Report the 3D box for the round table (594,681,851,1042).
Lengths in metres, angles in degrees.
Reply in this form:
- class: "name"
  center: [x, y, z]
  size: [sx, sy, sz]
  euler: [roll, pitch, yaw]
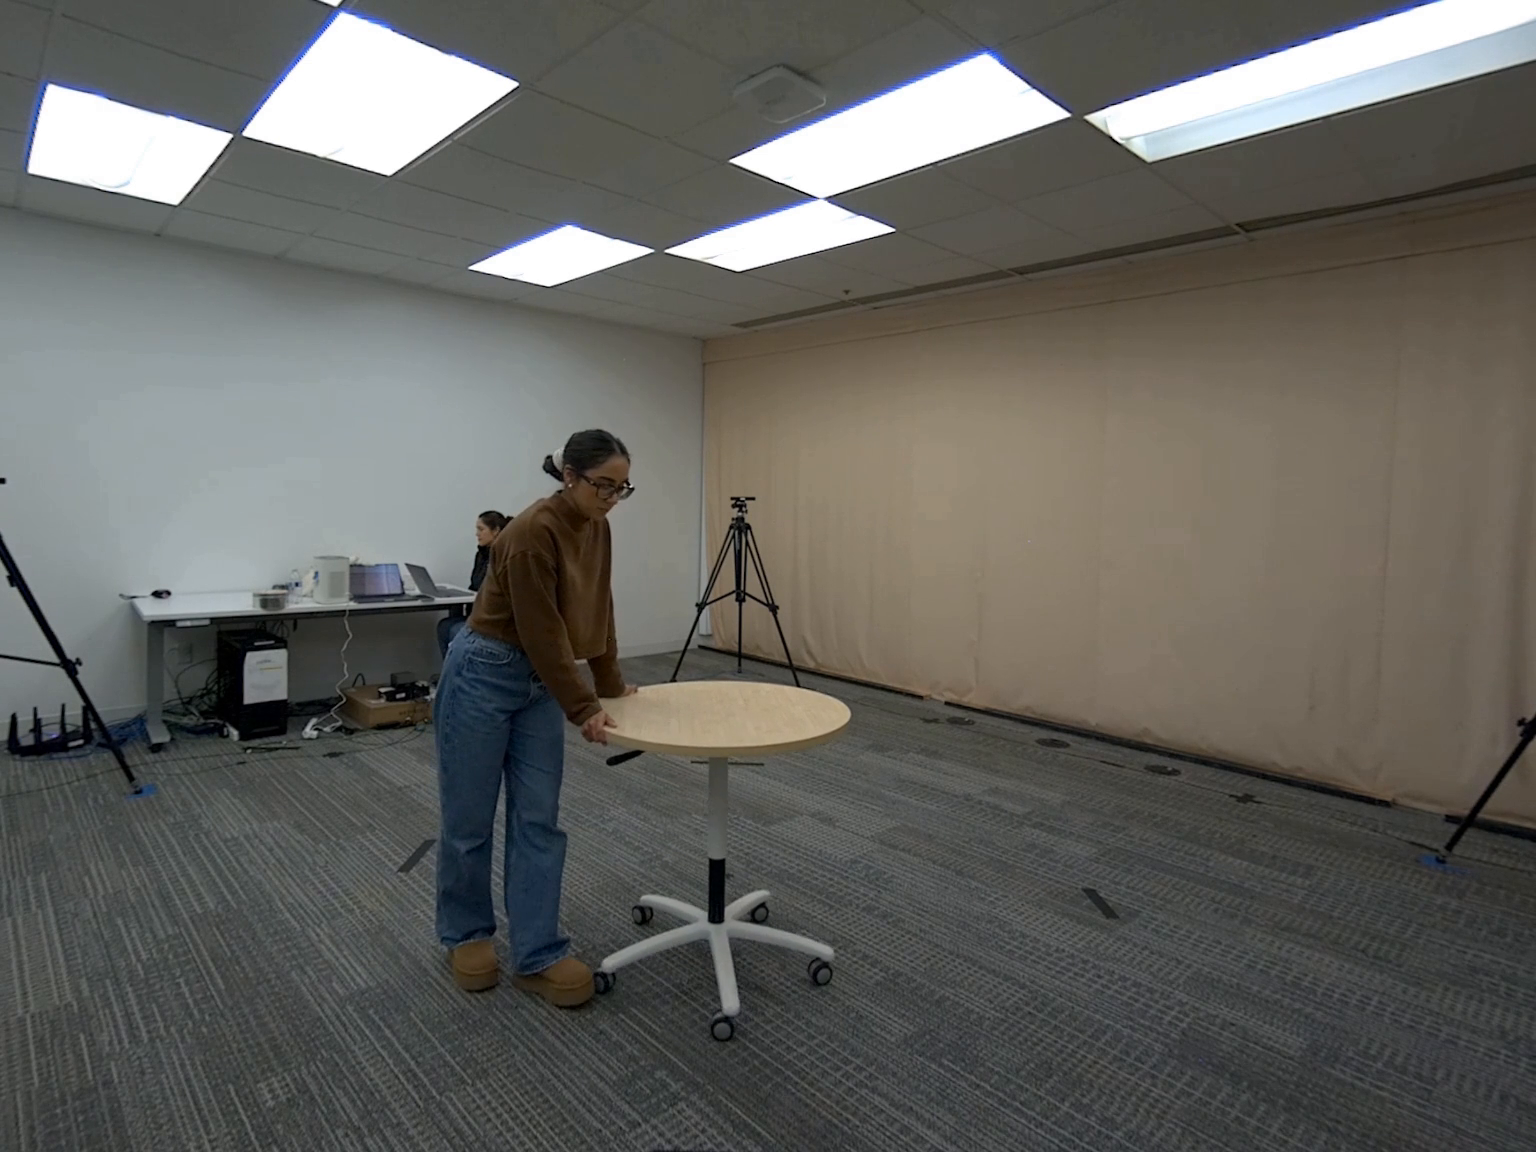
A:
- class: "round table"
  center: [-0.159, 0.781, 2.481]
  size: [0.763, 0.792, 0.766]
  euler: [1, 4, -1]
